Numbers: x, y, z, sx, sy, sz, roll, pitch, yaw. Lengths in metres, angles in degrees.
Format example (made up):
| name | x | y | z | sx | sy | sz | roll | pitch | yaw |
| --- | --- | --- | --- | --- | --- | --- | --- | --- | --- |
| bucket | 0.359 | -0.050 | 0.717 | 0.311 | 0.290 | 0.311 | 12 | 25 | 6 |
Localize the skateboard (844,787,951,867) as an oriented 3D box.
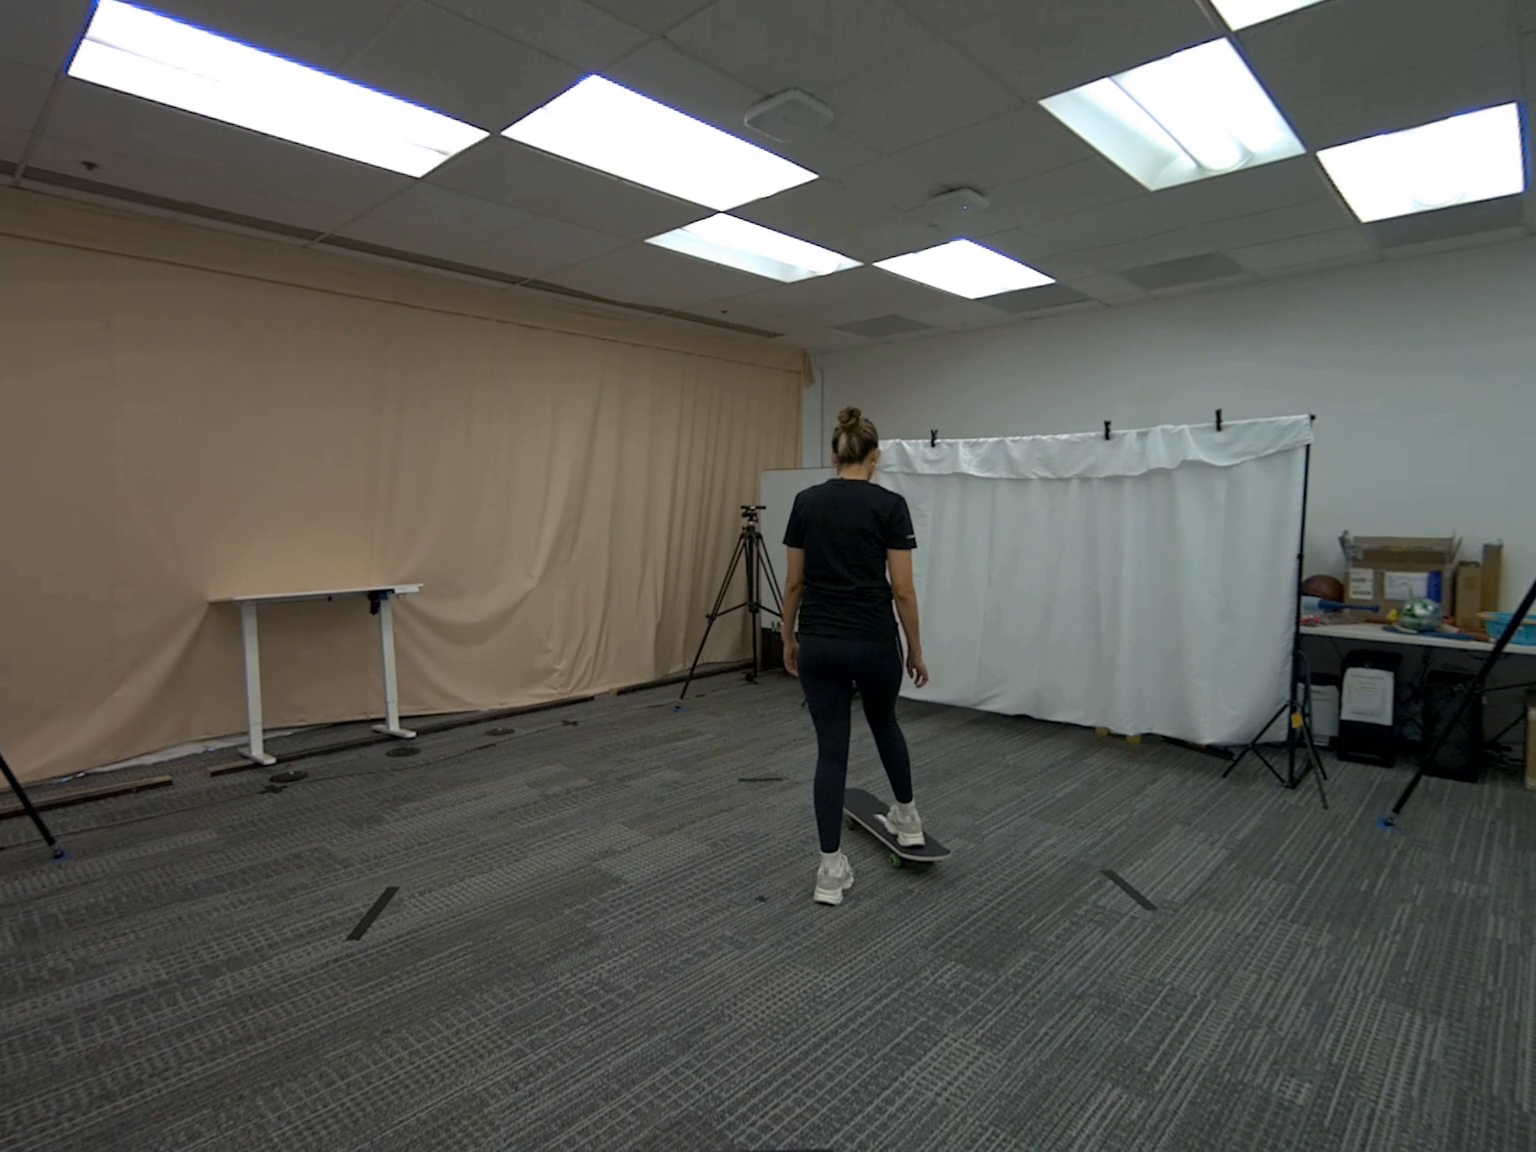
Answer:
| name | x | y | z | sx | sy | sz | roll | pitch | yaw |
| --- | --- | --- | --- | --- | --- | --- | --- | --- | --- |
| skateboard | 0.502 | 1.050 | 3.450 | 0.190 | 0.110 | 0.801 | -2 | 5 | -18 |
